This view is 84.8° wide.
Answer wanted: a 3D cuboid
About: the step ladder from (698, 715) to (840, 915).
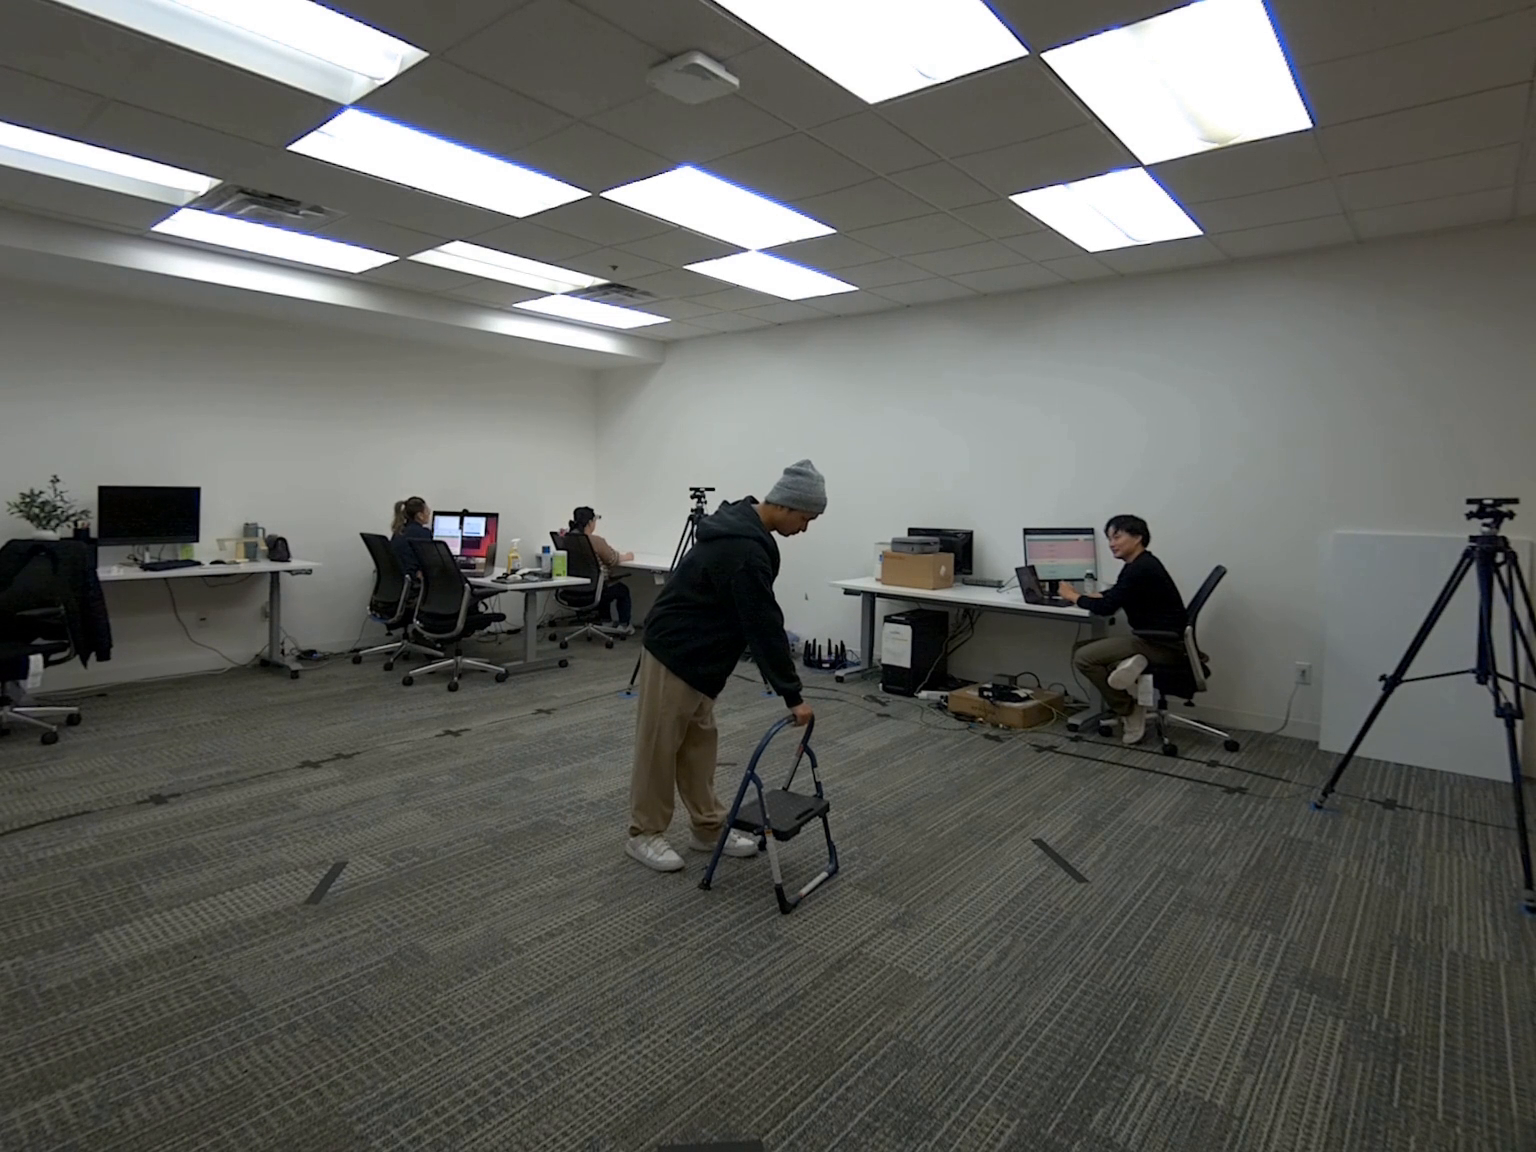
[{"bbox_3d":[0.012,0.776,3.021,0.360,0.604,0.419,3,4,30],"label":"step ladder"}]
